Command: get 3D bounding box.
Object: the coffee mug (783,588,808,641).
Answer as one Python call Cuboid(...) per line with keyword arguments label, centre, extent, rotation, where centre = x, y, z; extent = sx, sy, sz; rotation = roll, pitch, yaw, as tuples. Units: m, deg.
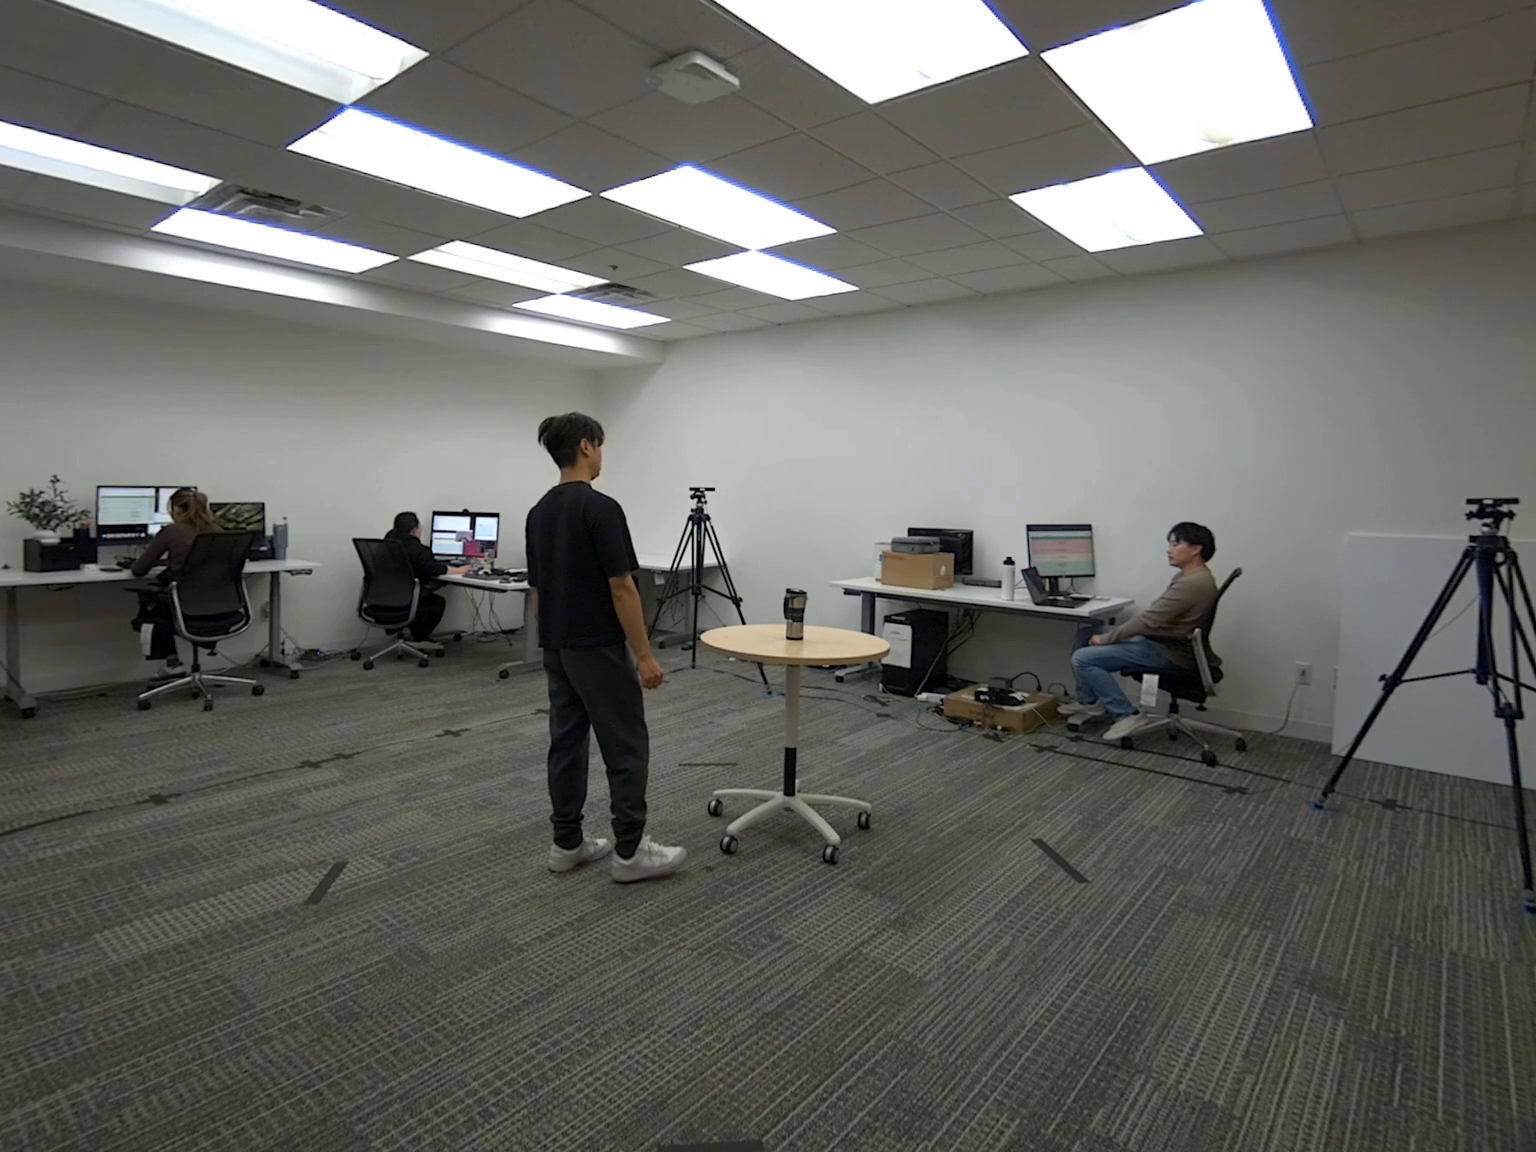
Cuboid(label="coffee mug", centre=(0.085, 0.154, 3.455), extent=(0.118, 0.202, 0.091), rotation=(2, 8, -36))
